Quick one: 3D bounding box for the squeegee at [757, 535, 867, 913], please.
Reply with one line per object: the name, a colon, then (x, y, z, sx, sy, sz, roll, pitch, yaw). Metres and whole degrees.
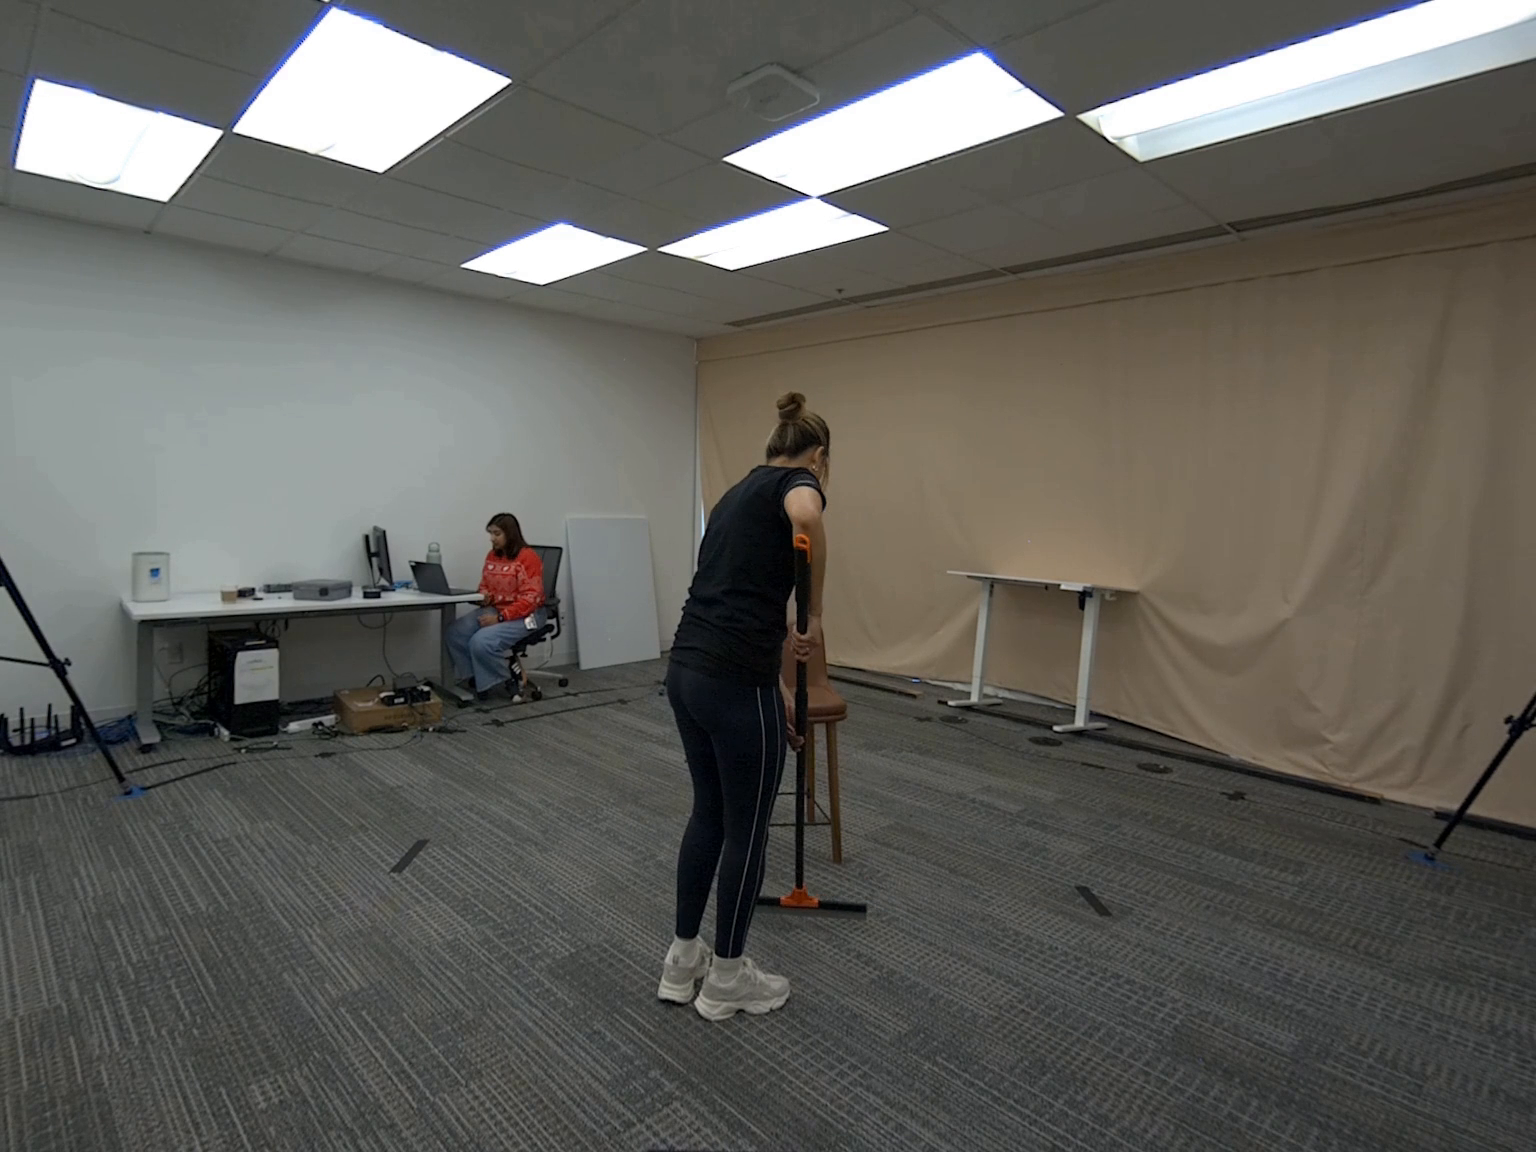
squeegee: (0.093, 0.485, 2.338, 0.439, 1.504, 0.054, 2, 36, 5)
